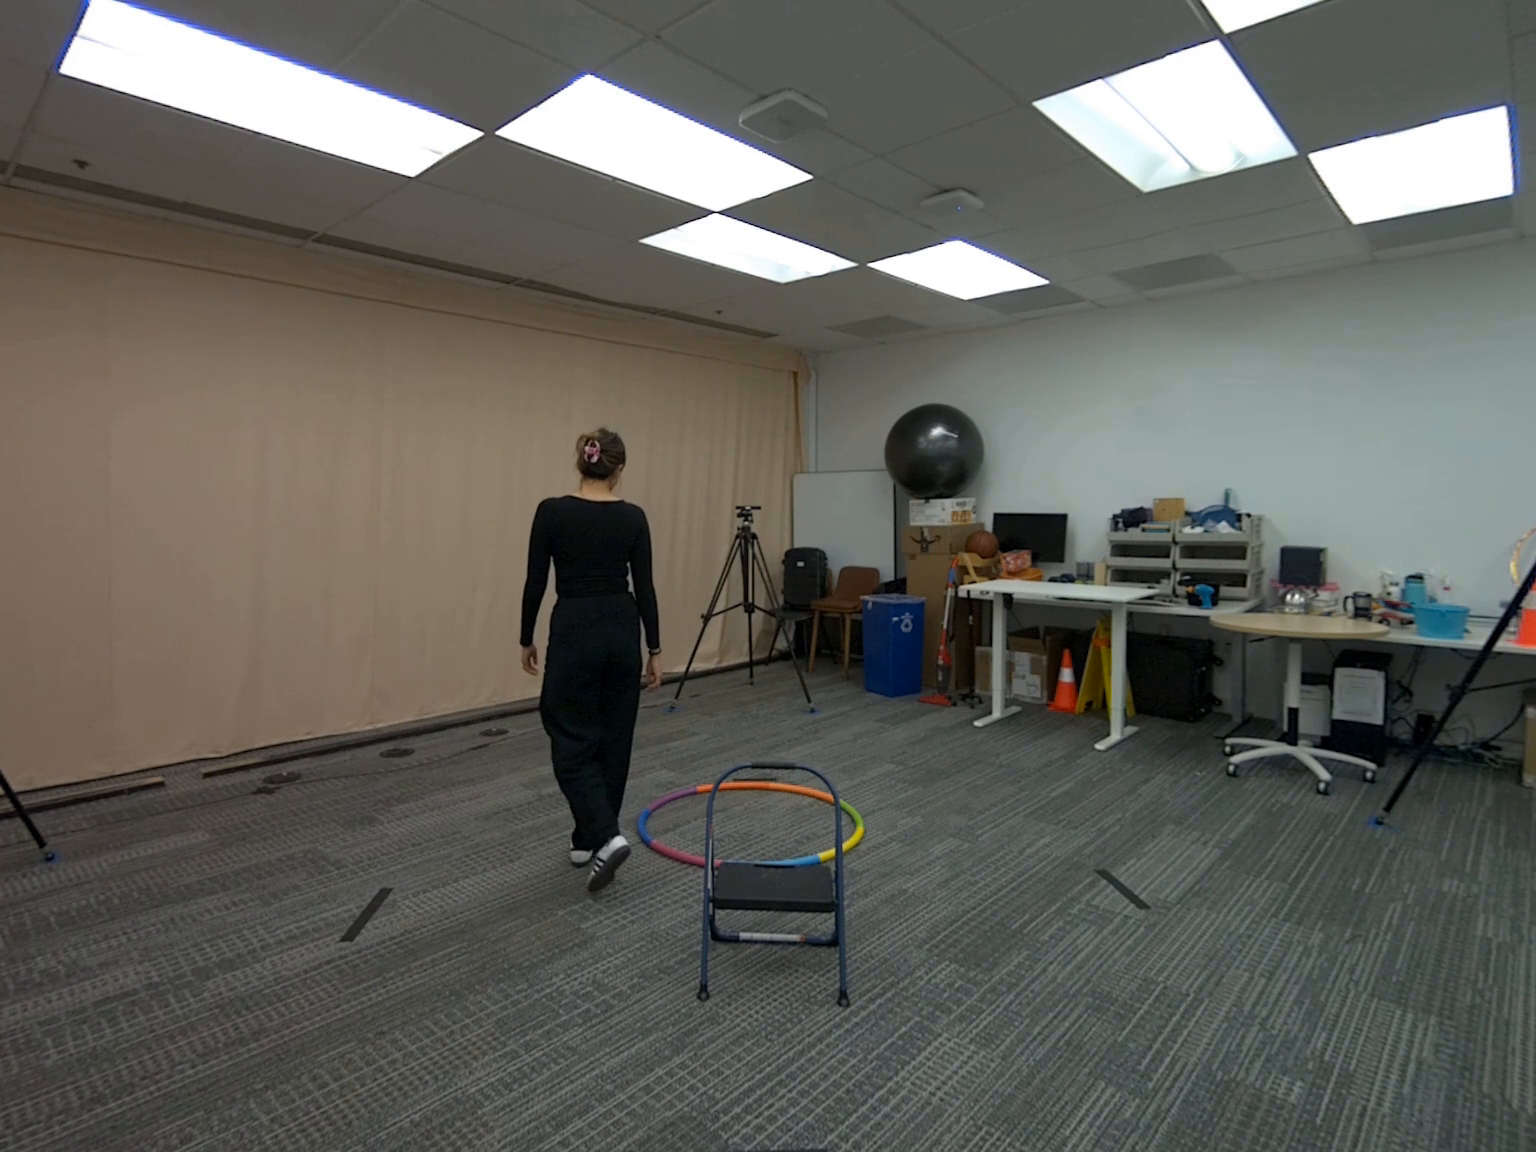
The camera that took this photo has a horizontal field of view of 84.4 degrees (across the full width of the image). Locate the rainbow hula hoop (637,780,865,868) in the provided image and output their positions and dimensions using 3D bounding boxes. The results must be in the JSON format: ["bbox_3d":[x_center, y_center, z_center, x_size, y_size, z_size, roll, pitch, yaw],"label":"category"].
[{"bbox_3d":[-0.081,1.054,3.676,0.978,0.035,0.982,-1,5,-2],"label":"rainbow hula hoop"}]
